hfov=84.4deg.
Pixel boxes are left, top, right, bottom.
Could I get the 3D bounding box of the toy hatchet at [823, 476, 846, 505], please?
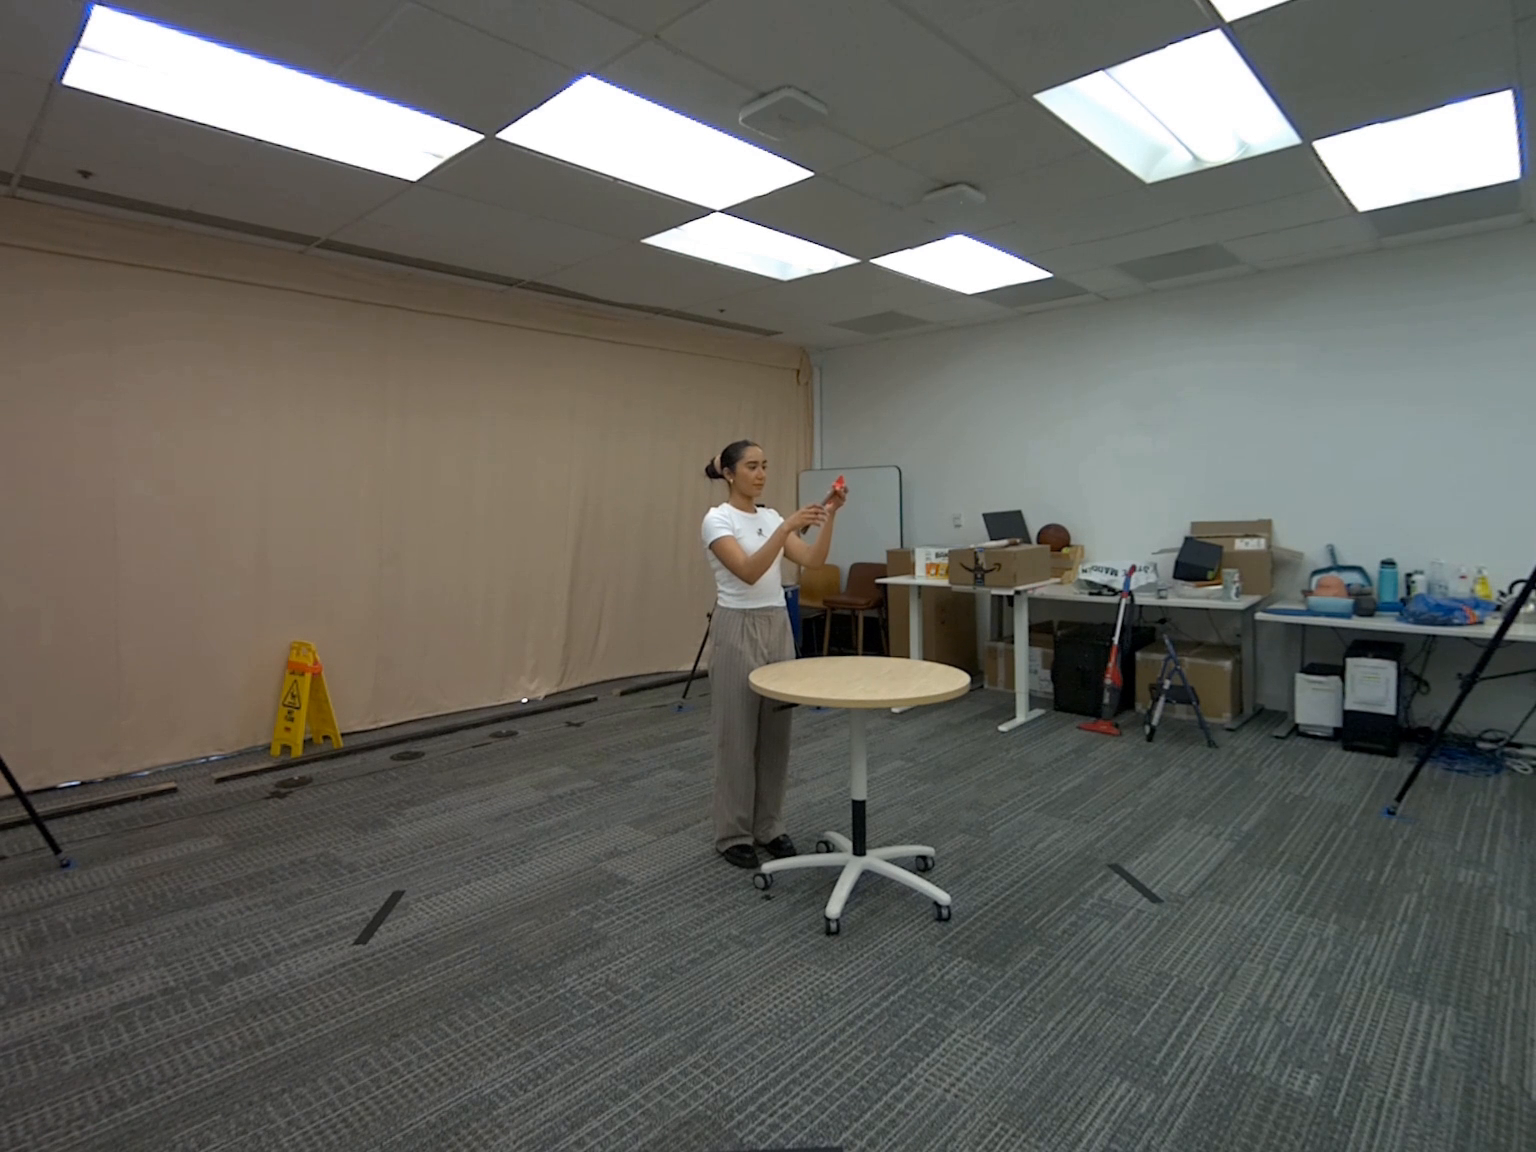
[{"bbox_3d":[0.201,-0.244,3.087,0.030,0.270,0.128,32,-12,18],"label":"toy hatchet"}]
